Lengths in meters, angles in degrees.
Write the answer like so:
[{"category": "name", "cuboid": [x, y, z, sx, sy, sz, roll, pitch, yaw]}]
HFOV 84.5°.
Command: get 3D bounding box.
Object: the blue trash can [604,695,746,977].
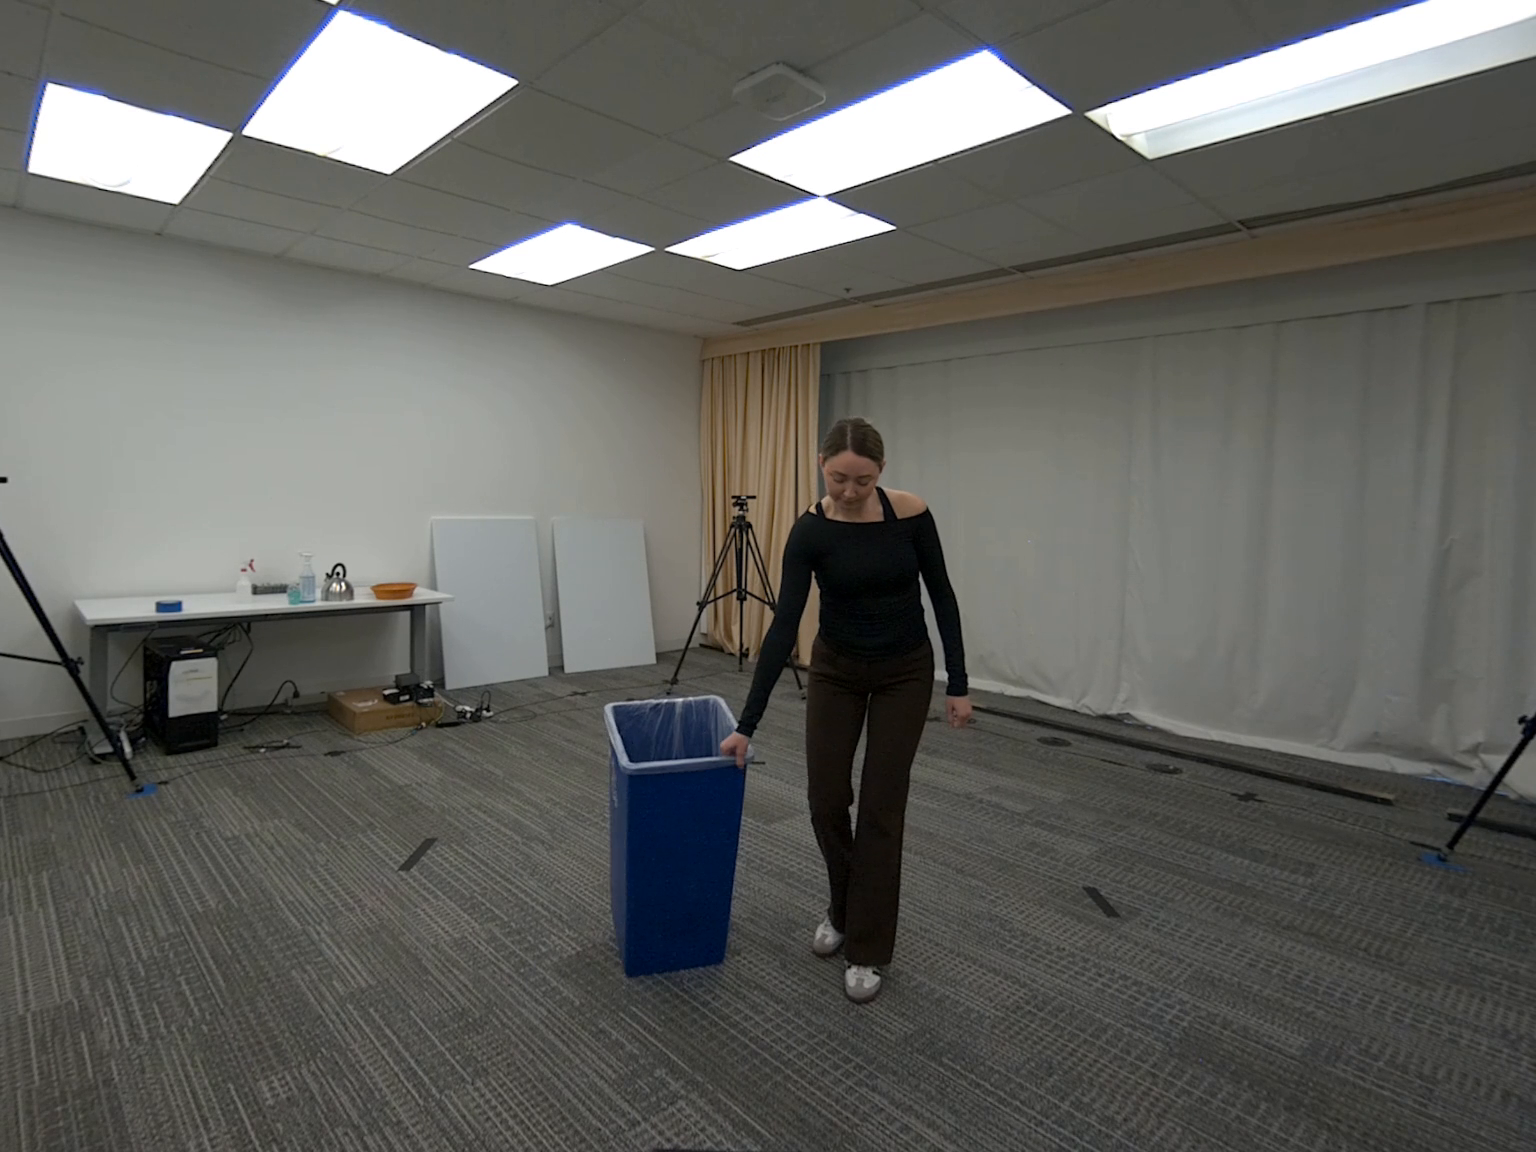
[{"category": "blue trash can", "cuboid": [-0.276, 0.773, 2.498, 0.373, 0.706, 0.383, -2, 17, -18]}]
